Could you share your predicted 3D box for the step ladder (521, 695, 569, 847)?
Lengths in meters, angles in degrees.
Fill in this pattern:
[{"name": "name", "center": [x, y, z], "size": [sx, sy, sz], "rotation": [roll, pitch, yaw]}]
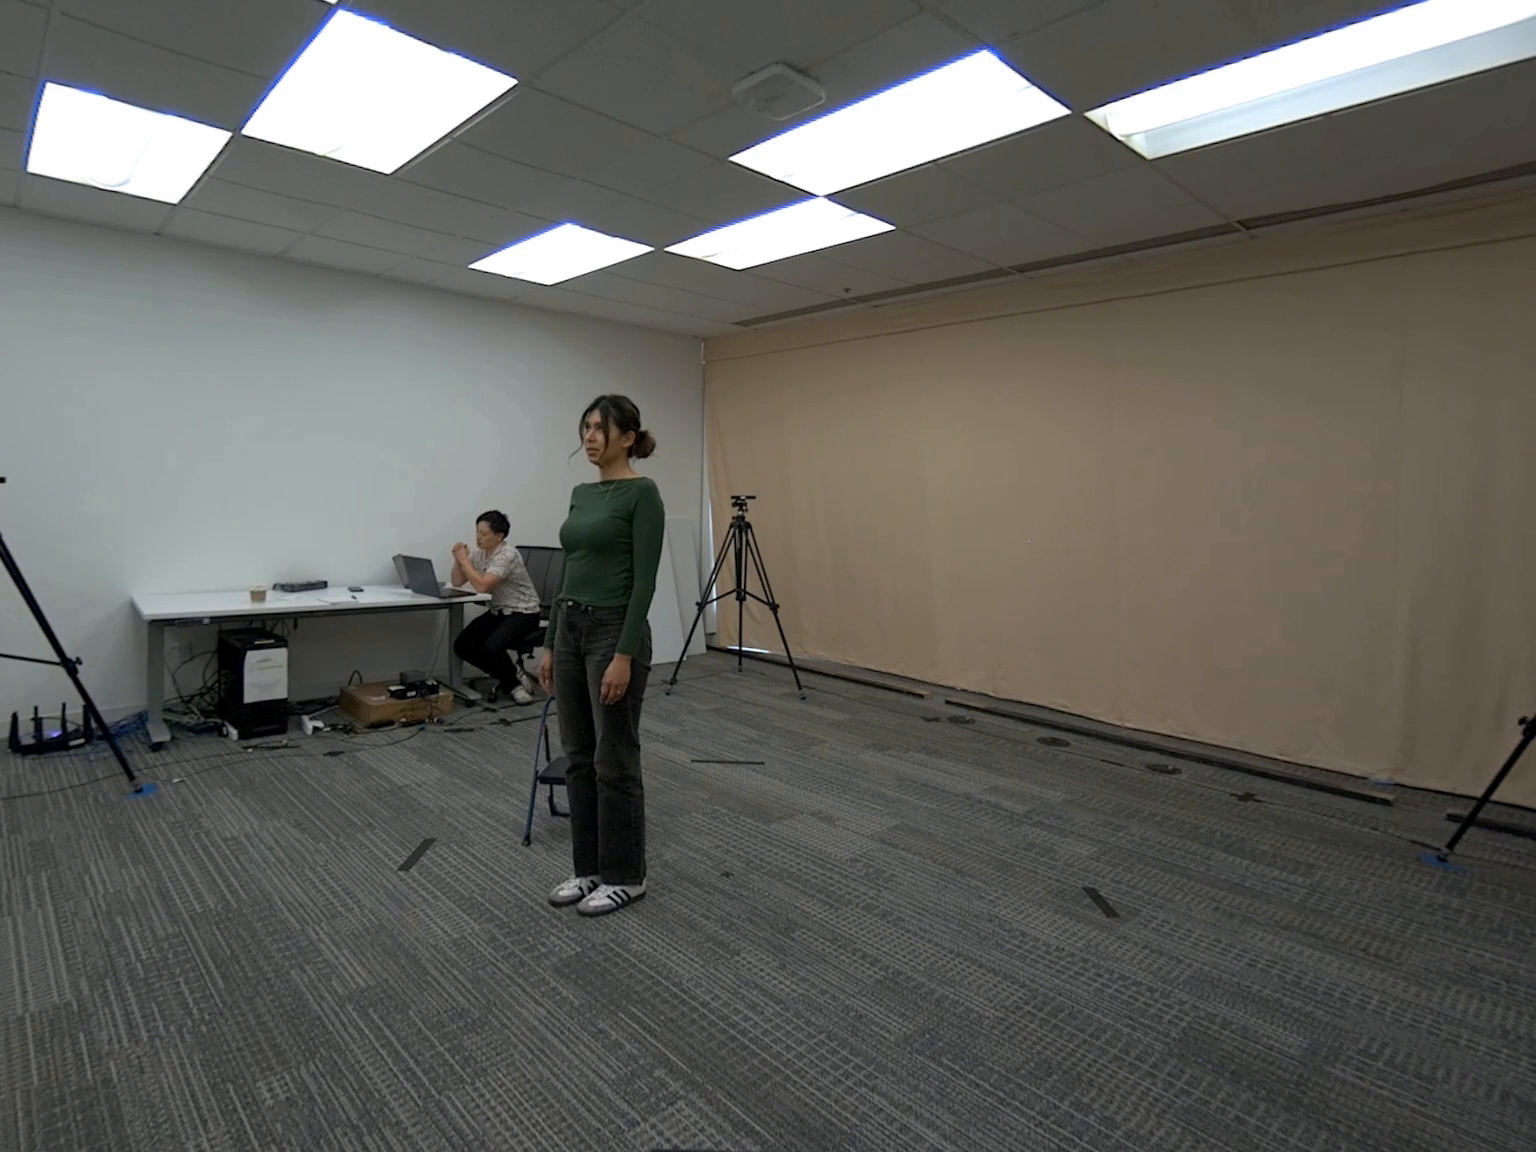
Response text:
[{"name": "step ladder", "center": [-0.750, 0.758, 3.451], "size": [0.433, 0.604, 0.348], "rotation": [2, 4, 5]}]
